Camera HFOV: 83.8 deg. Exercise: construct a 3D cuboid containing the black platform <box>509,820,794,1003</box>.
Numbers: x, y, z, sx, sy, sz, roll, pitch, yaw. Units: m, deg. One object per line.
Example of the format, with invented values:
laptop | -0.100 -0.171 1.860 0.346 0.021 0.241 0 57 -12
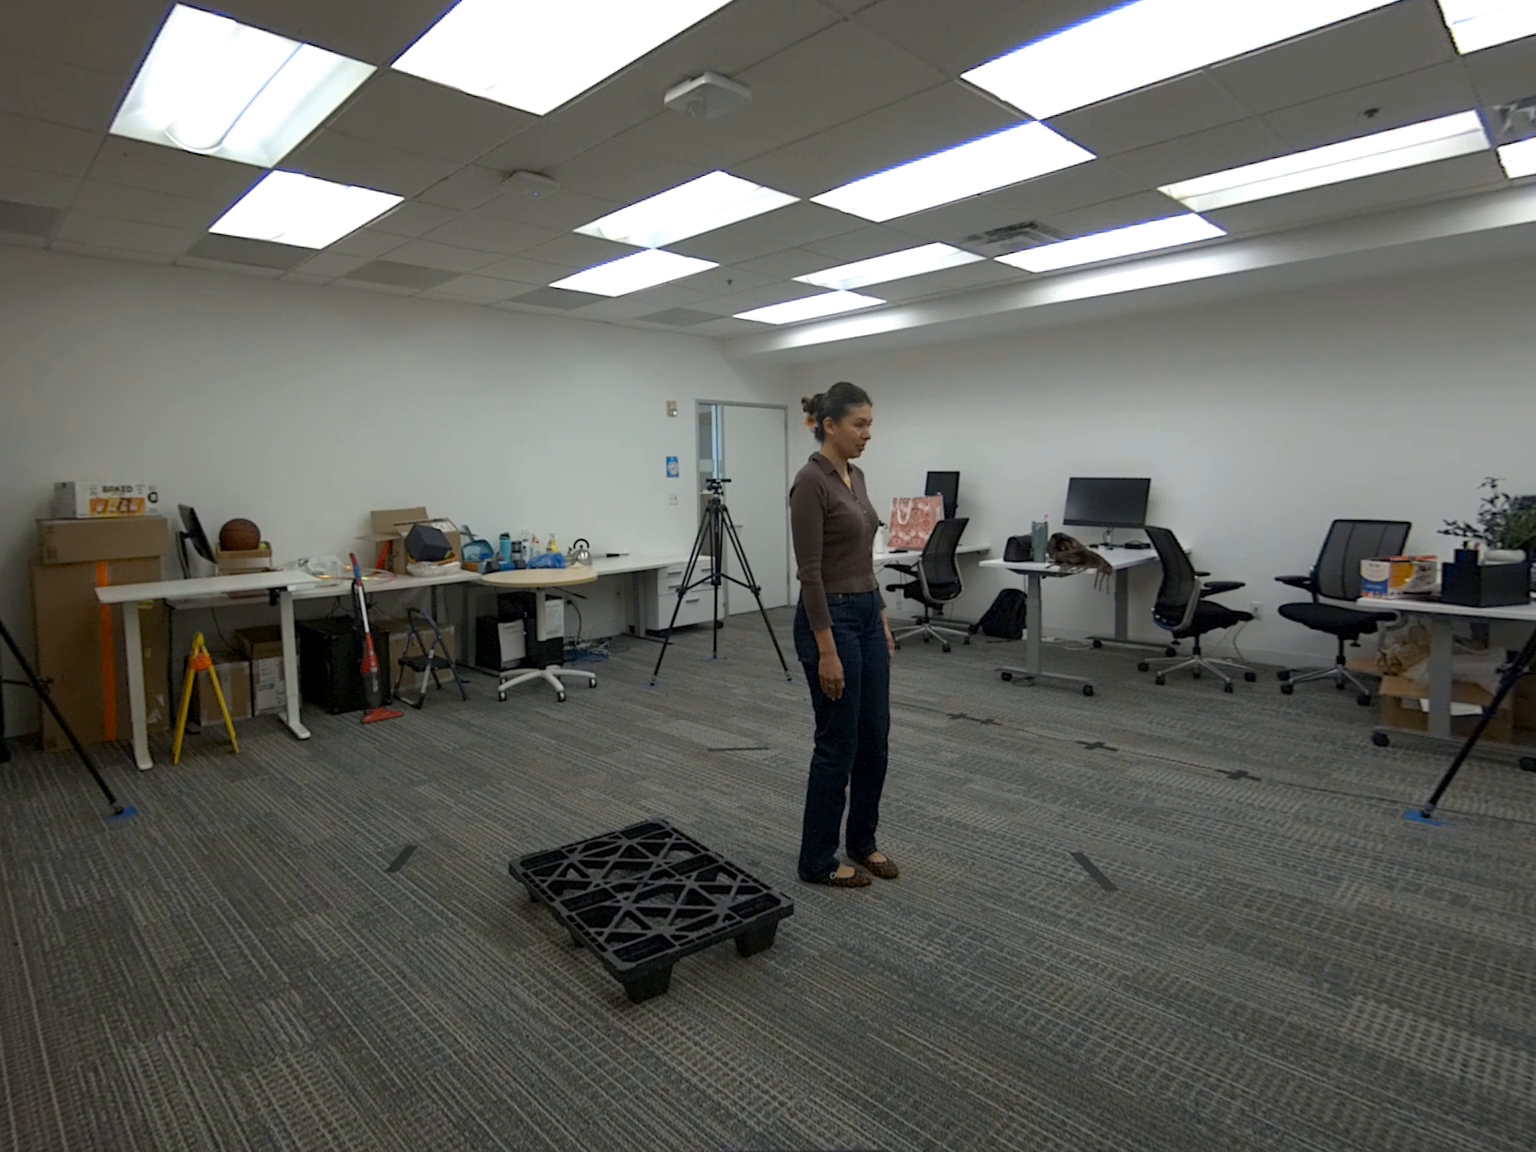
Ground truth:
black platform | -0.391 1.031 2.715 0.590 0.142 0.830 -5 8 -37
